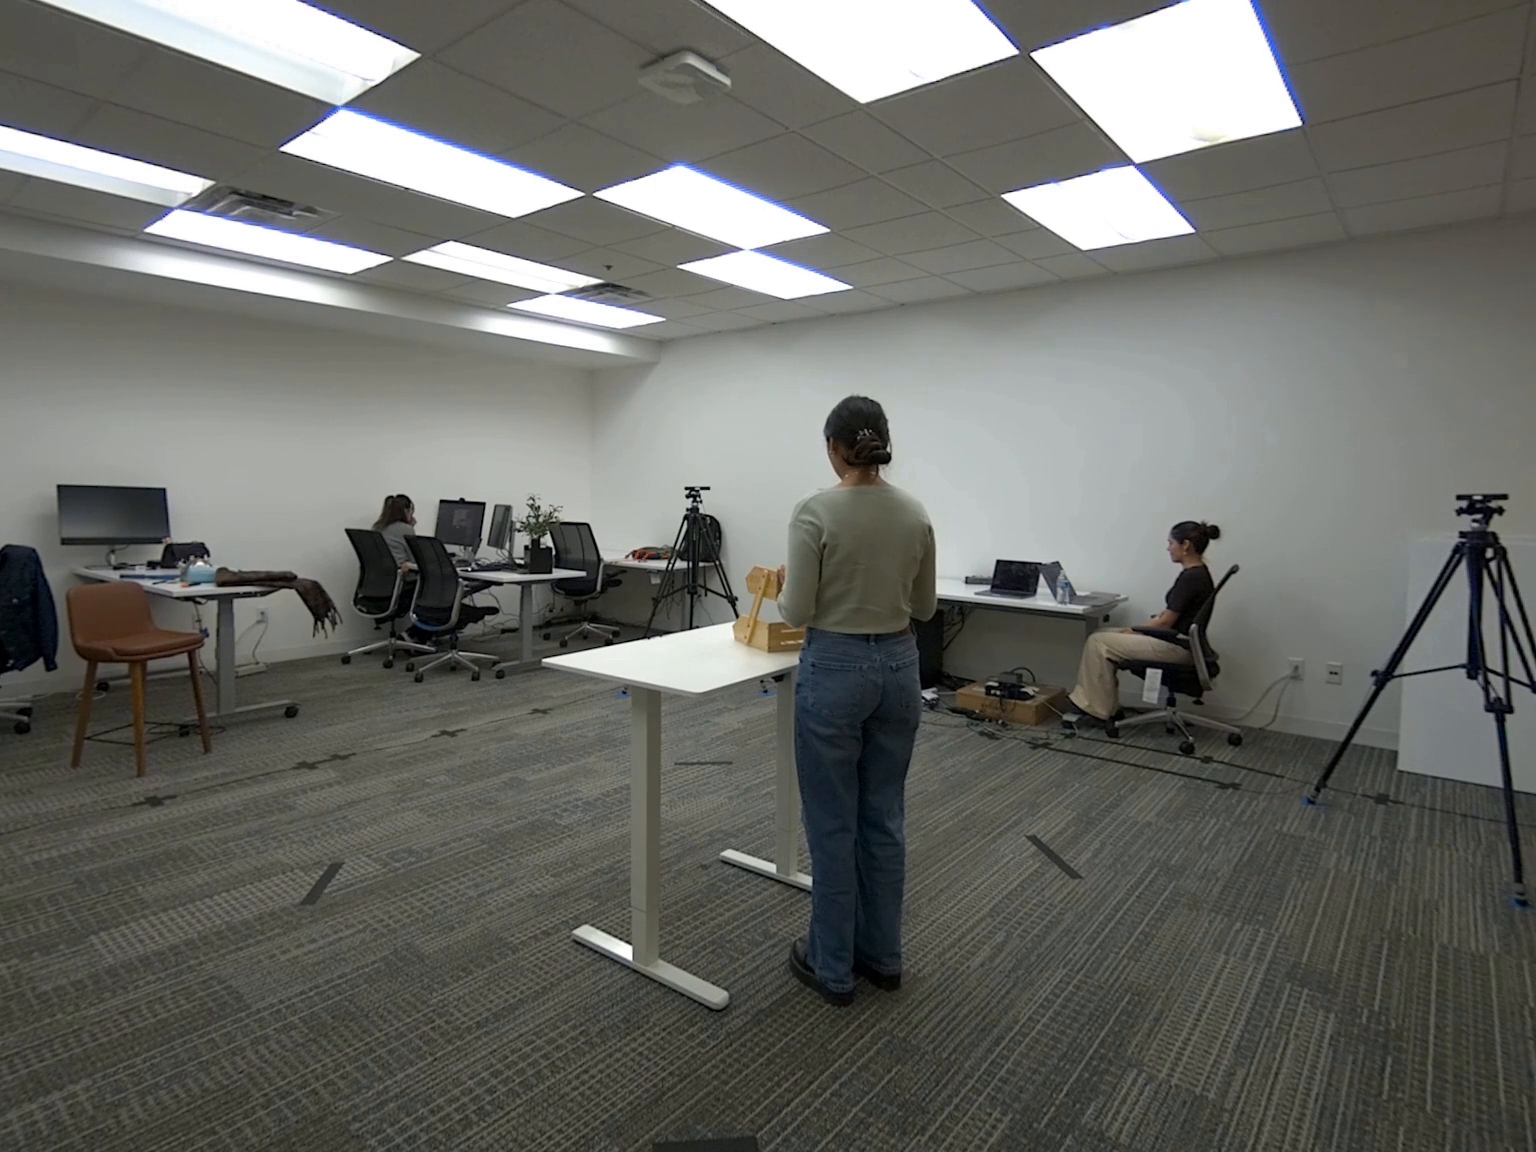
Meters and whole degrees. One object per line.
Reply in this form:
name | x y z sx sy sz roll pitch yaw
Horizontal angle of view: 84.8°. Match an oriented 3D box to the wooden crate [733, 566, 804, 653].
wooden crate | 0.079 0.086 2.765 0.317 0.272 0.311 -2 6 -27
